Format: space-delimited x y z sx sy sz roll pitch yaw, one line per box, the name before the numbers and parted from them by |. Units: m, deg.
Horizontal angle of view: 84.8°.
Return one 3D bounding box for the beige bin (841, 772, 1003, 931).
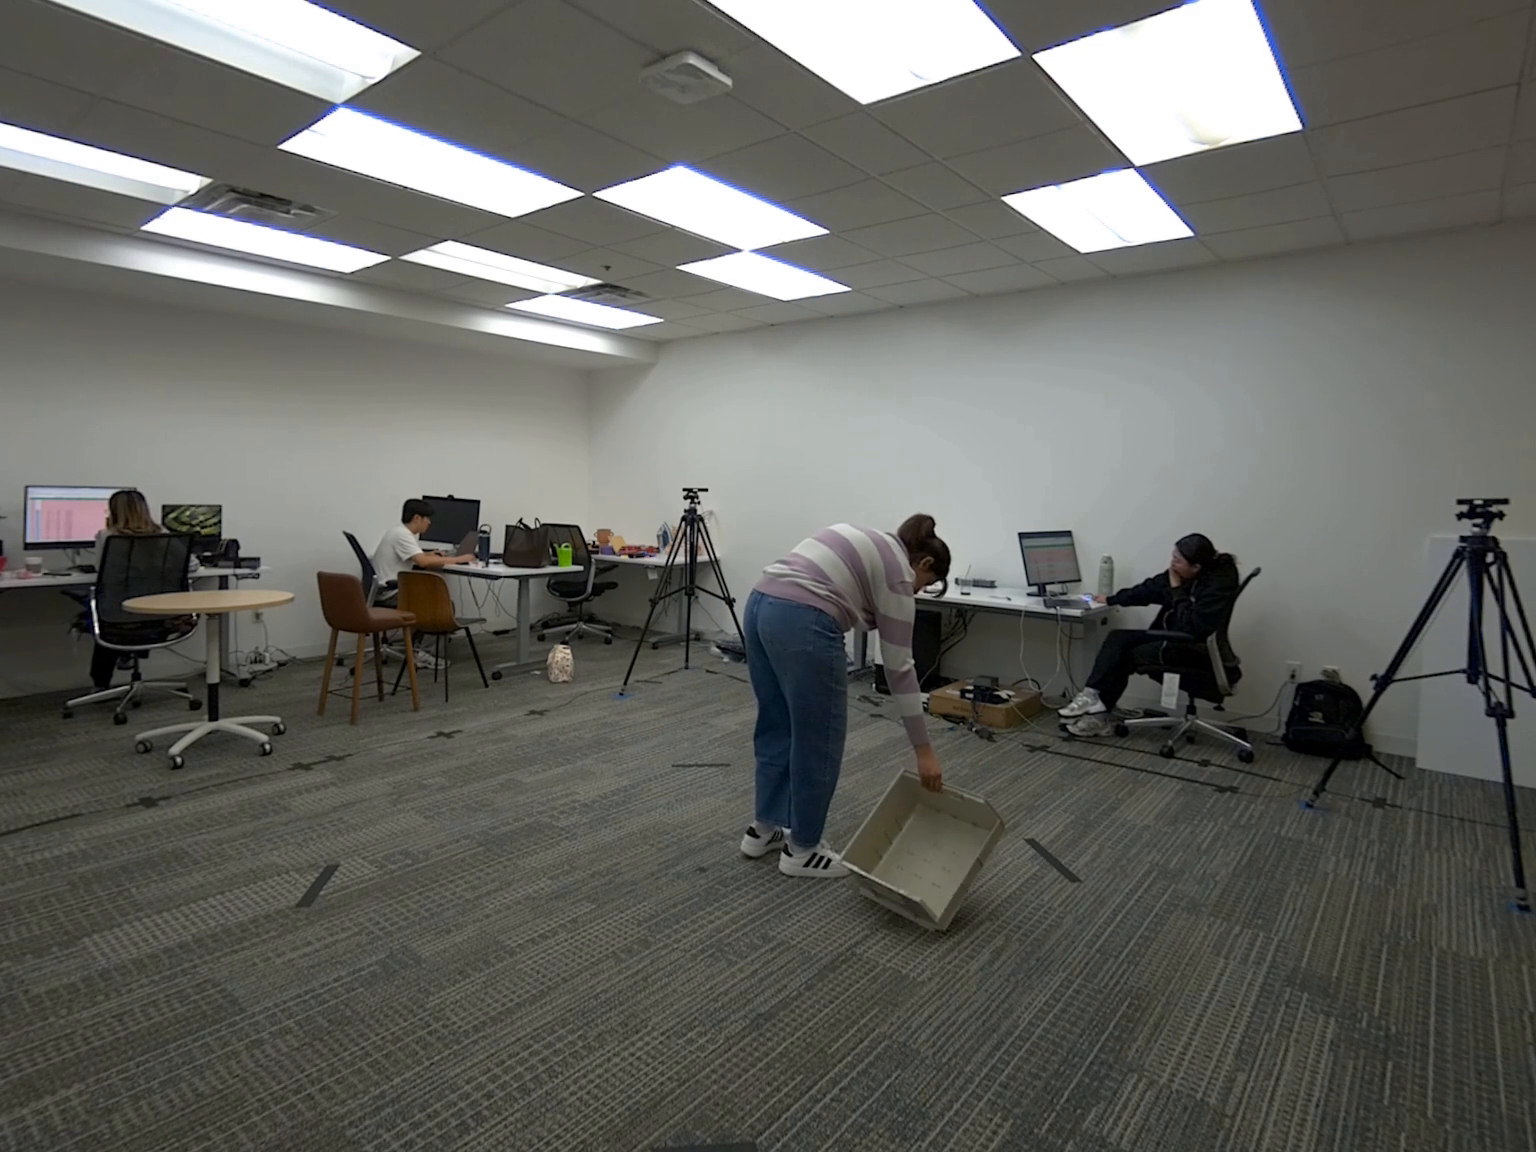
beige bin | 0.521 0.914 2.864 0.390 0.183 0.422 7 45 49
